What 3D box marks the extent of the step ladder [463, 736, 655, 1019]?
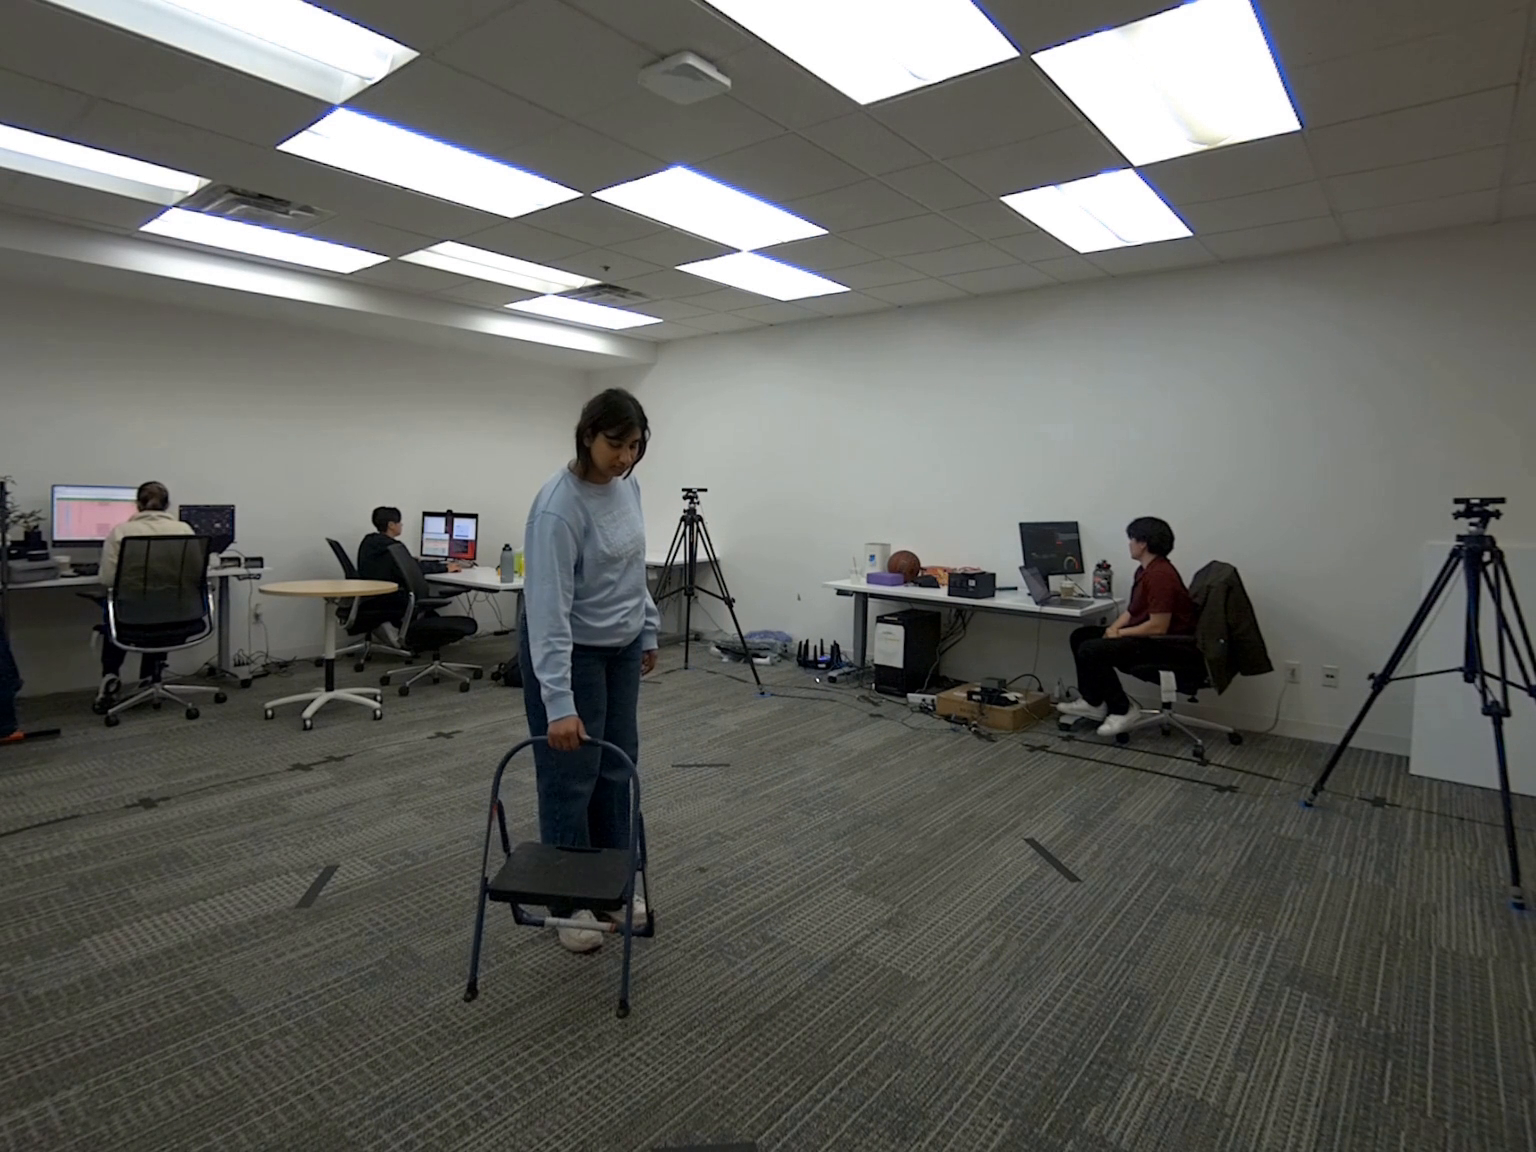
[{"bbox_3d":[-0.546,0.746,2.232,0.434,0.601,0.349,1,8,6],"label":"step ladder"}]
